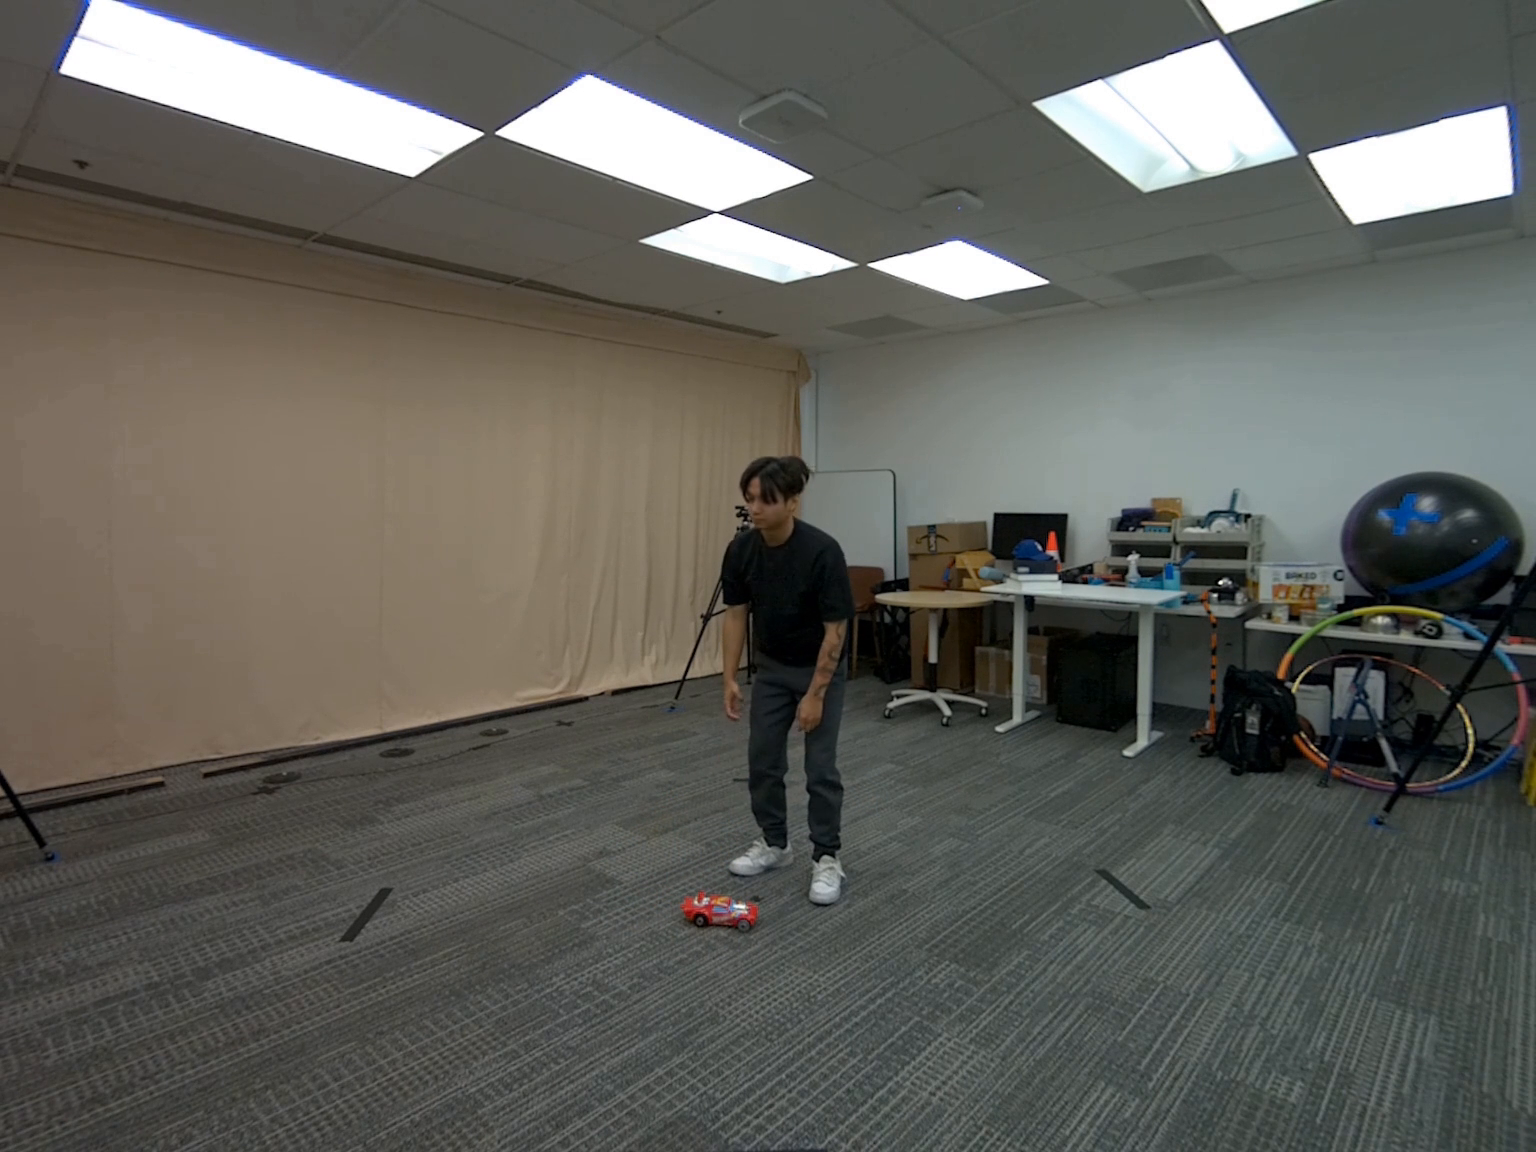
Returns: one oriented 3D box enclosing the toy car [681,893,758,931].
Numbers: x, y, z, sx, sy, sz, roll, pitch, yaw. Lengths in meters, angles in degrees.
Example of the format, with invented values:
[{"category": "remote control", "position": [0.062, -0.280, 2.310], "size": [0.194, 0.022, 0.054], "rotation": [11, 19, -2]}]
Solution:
[{"category": "toy car", "position": [-0.163, 1.127, 2.821], "size": [0.258, 0.083, 0.129], "rotation": [11, 6, 11]}]
